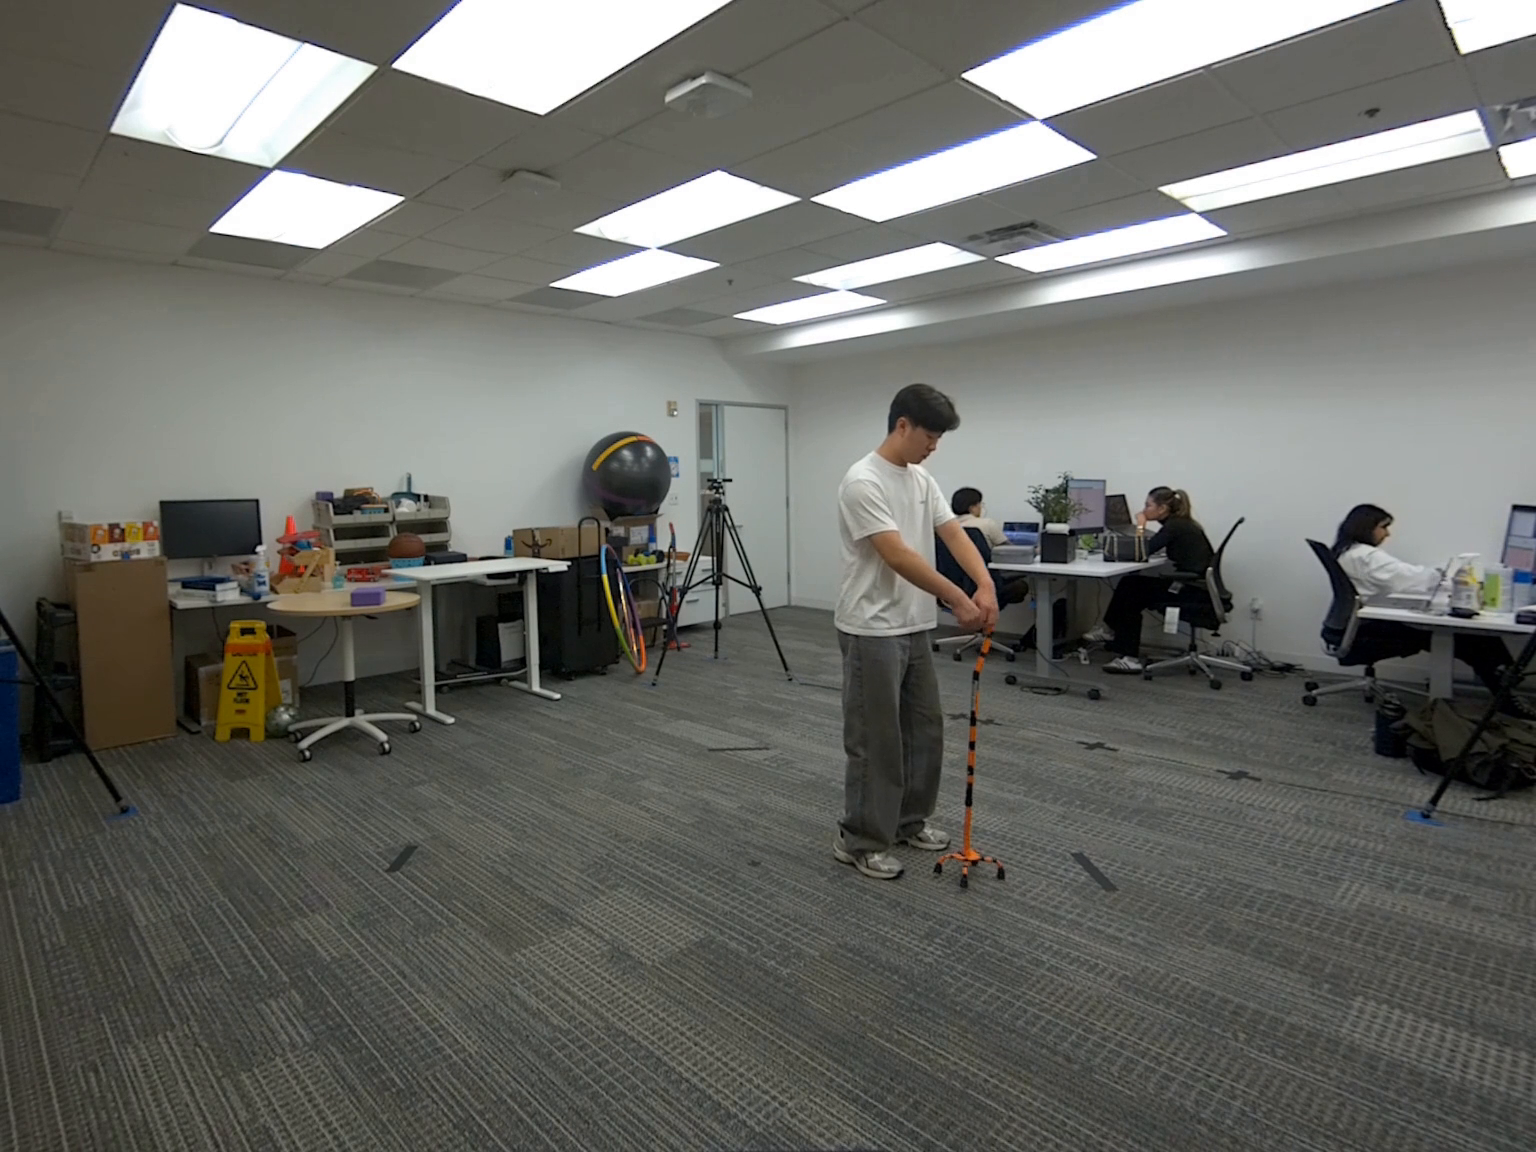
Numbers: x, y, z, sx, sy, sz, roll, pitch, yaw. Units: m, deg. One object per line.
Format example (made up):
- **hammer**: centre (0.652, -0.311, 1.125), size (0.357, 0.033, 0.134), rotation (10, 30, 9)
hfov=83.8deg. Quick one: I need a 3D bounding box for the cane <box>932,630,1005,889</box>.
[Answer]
- **cane**: centre (0.720, 0.587, 2.933), size (0.201, 0.904, 0.156), rotation (-1, 5, -32)
